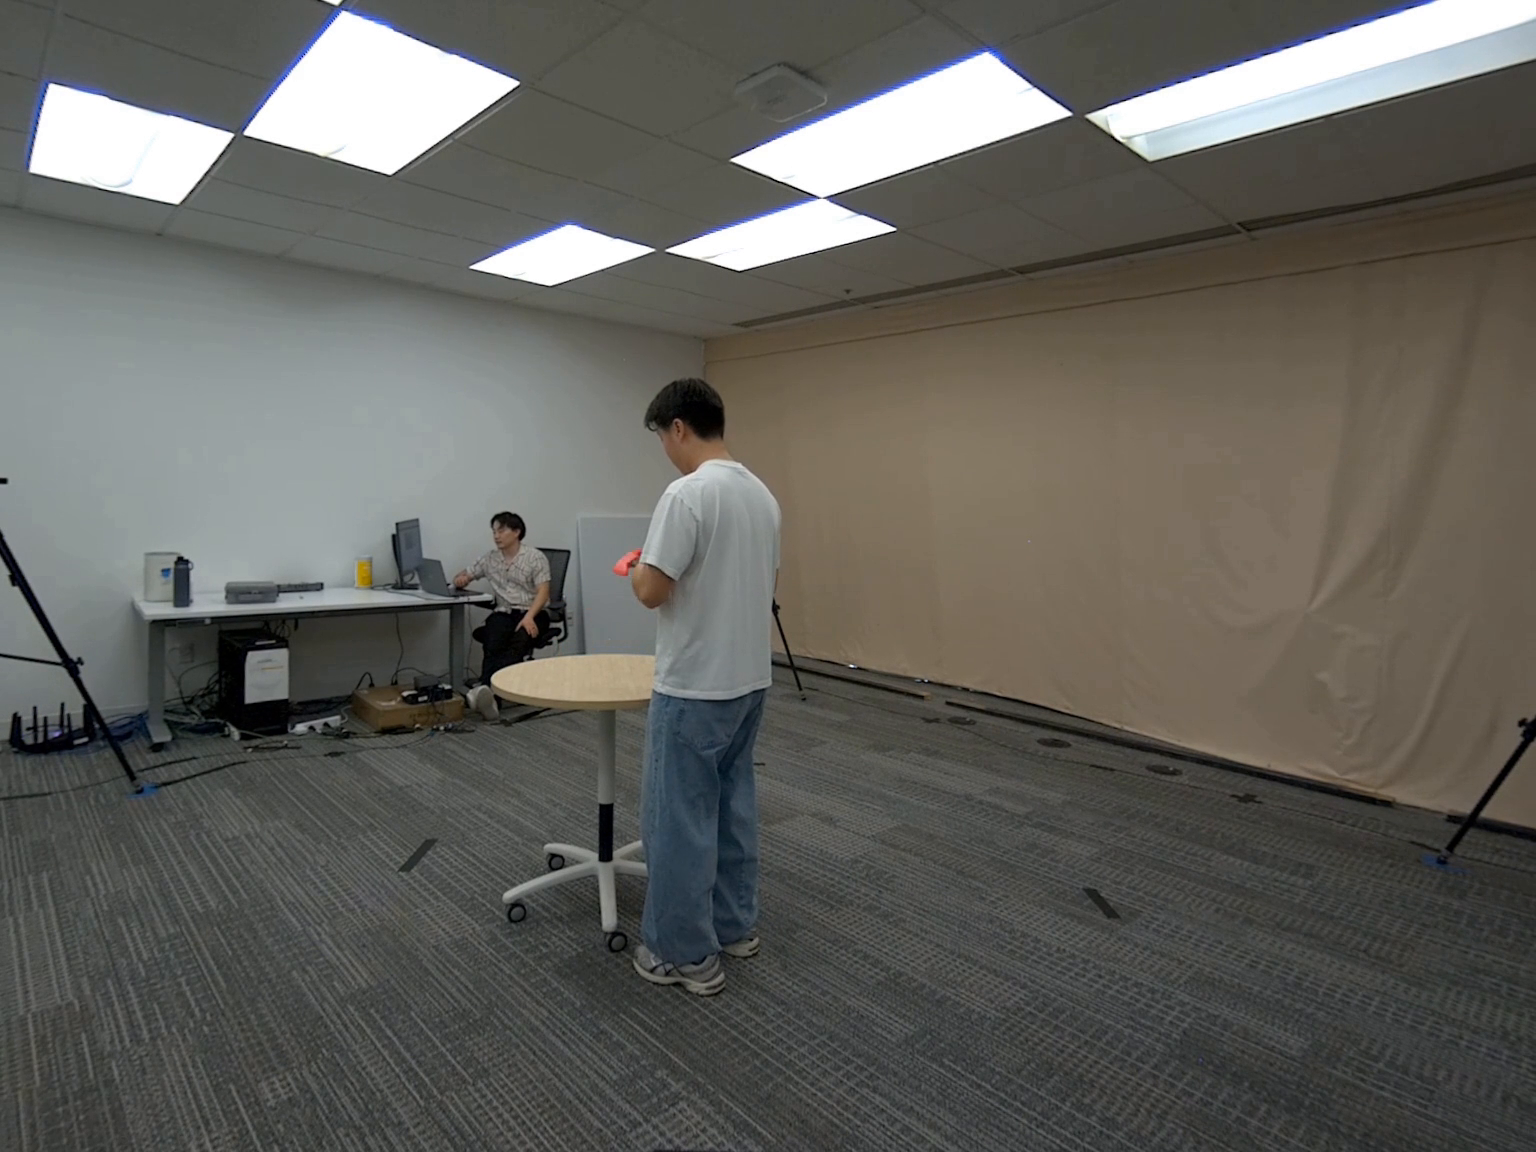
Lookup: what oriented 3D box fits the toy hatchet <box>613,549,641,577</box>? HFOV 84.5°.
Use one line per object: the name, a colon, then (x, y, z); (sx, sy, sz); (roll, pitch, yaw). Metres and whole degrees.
toy hatchet: (-0.400, 0.040, 2.633); (0.130, 0.029, 0.279); (-23, 41, -10)
